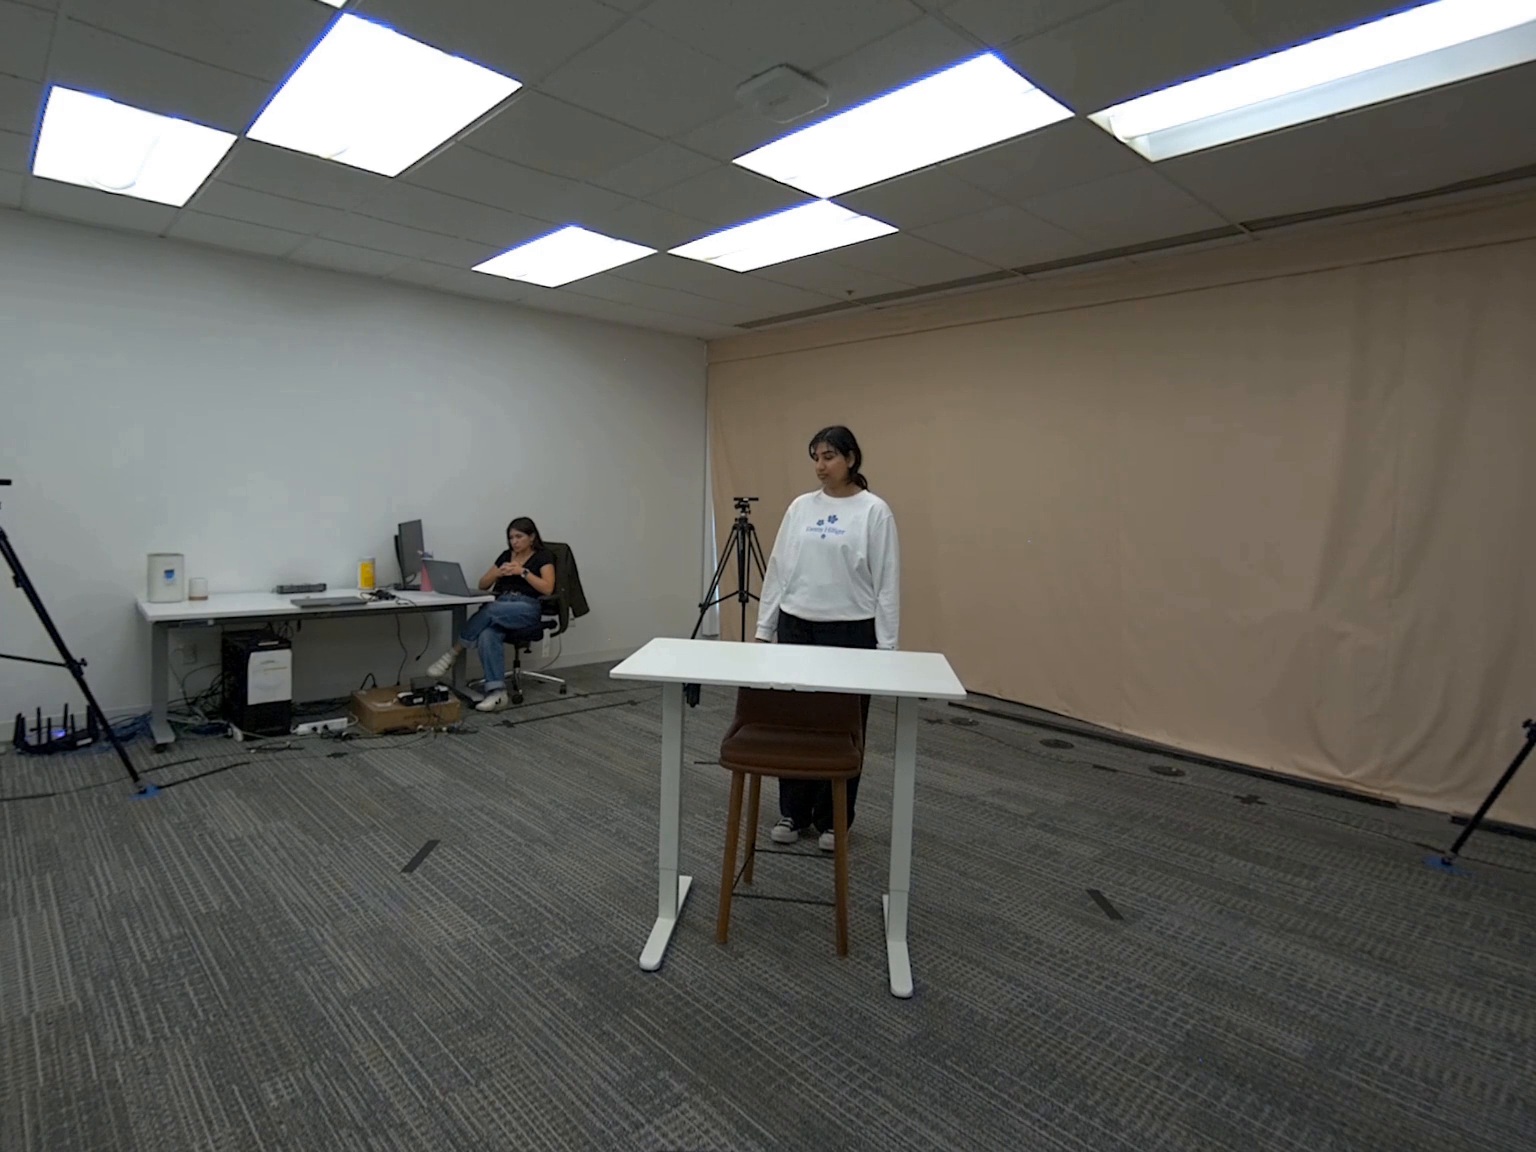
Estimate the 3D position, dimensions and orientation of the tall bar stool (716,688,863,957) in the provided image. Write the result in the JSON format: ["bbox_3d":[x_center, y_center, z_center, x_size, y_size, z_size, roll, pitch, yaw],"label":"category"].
[{"bbox_3d":[0.086,0.709,2.800,0.460,0.889,0.464,2,2,10],"label":"tall bar stool"}]
